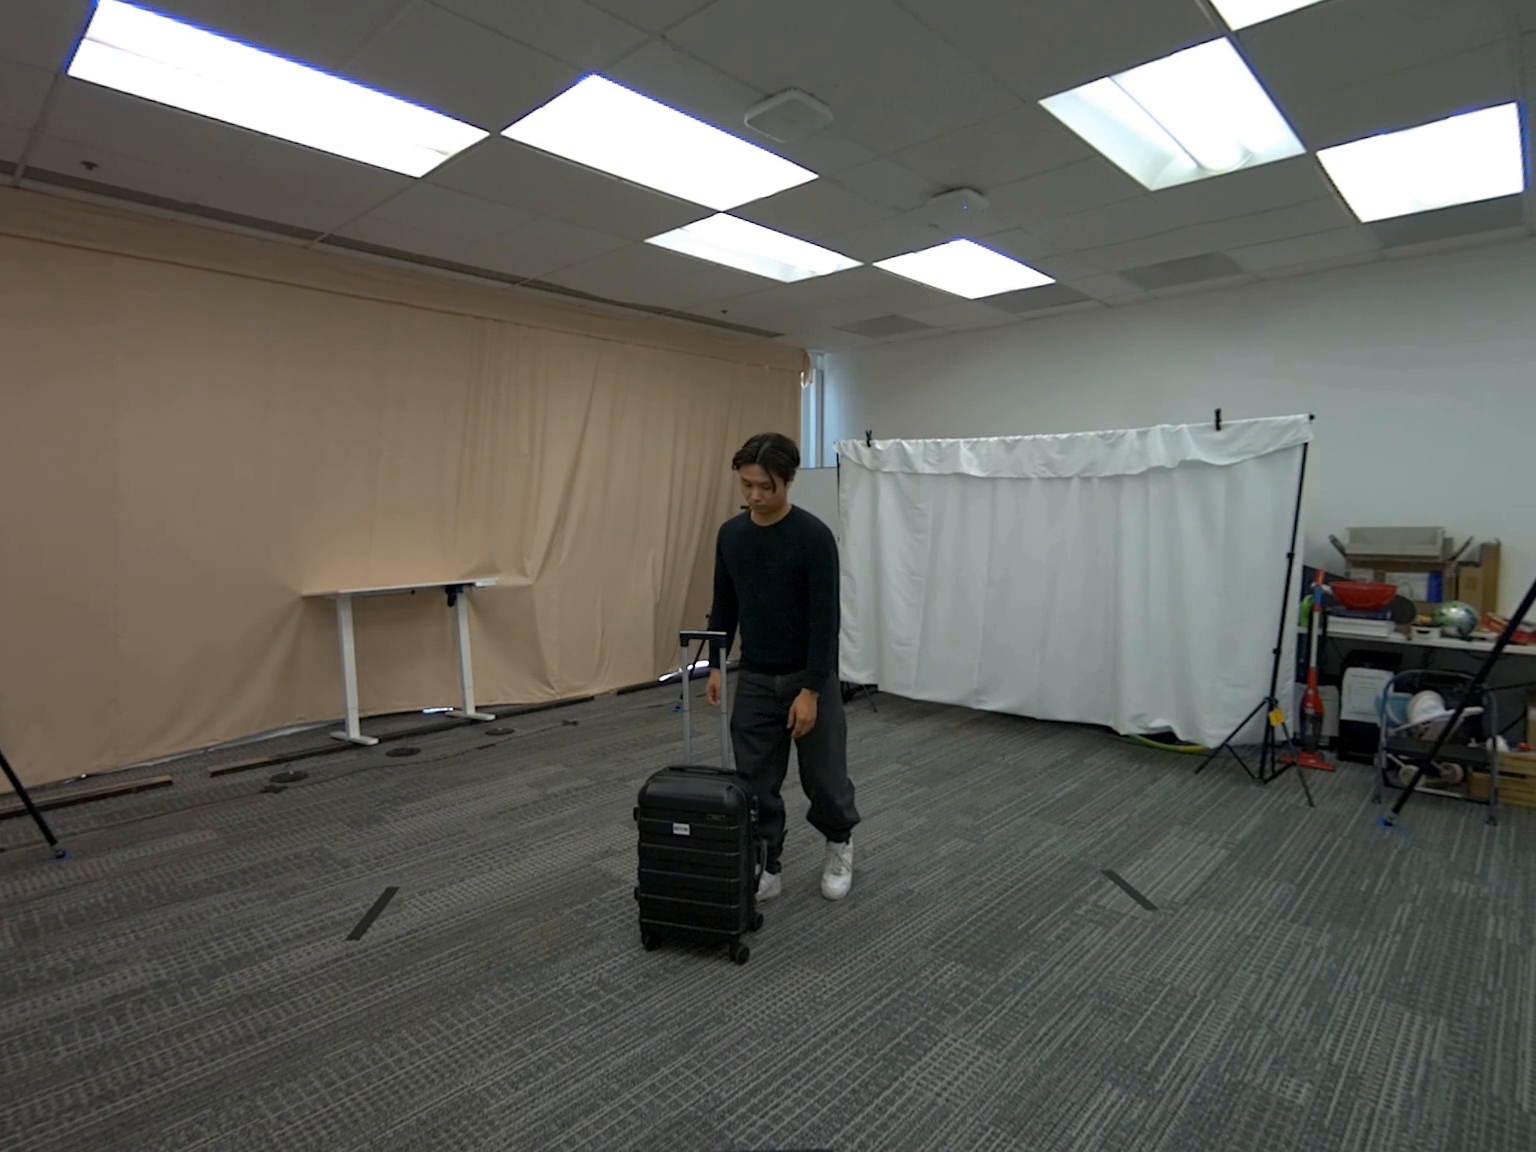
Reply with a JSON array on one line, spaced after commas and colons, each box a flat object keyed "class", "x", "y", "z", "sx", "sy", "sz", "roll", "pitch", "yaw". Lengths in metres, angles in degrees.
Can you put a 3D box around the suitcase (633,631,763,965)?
[{"class": "suitcase", "x": -0.225, "y": 0.693, "z": 2.665, "sx": 0.390, "sy": 0.975, "sz": 0.254, "roll": 0, "pitch": 6, "yaw": 14}]
